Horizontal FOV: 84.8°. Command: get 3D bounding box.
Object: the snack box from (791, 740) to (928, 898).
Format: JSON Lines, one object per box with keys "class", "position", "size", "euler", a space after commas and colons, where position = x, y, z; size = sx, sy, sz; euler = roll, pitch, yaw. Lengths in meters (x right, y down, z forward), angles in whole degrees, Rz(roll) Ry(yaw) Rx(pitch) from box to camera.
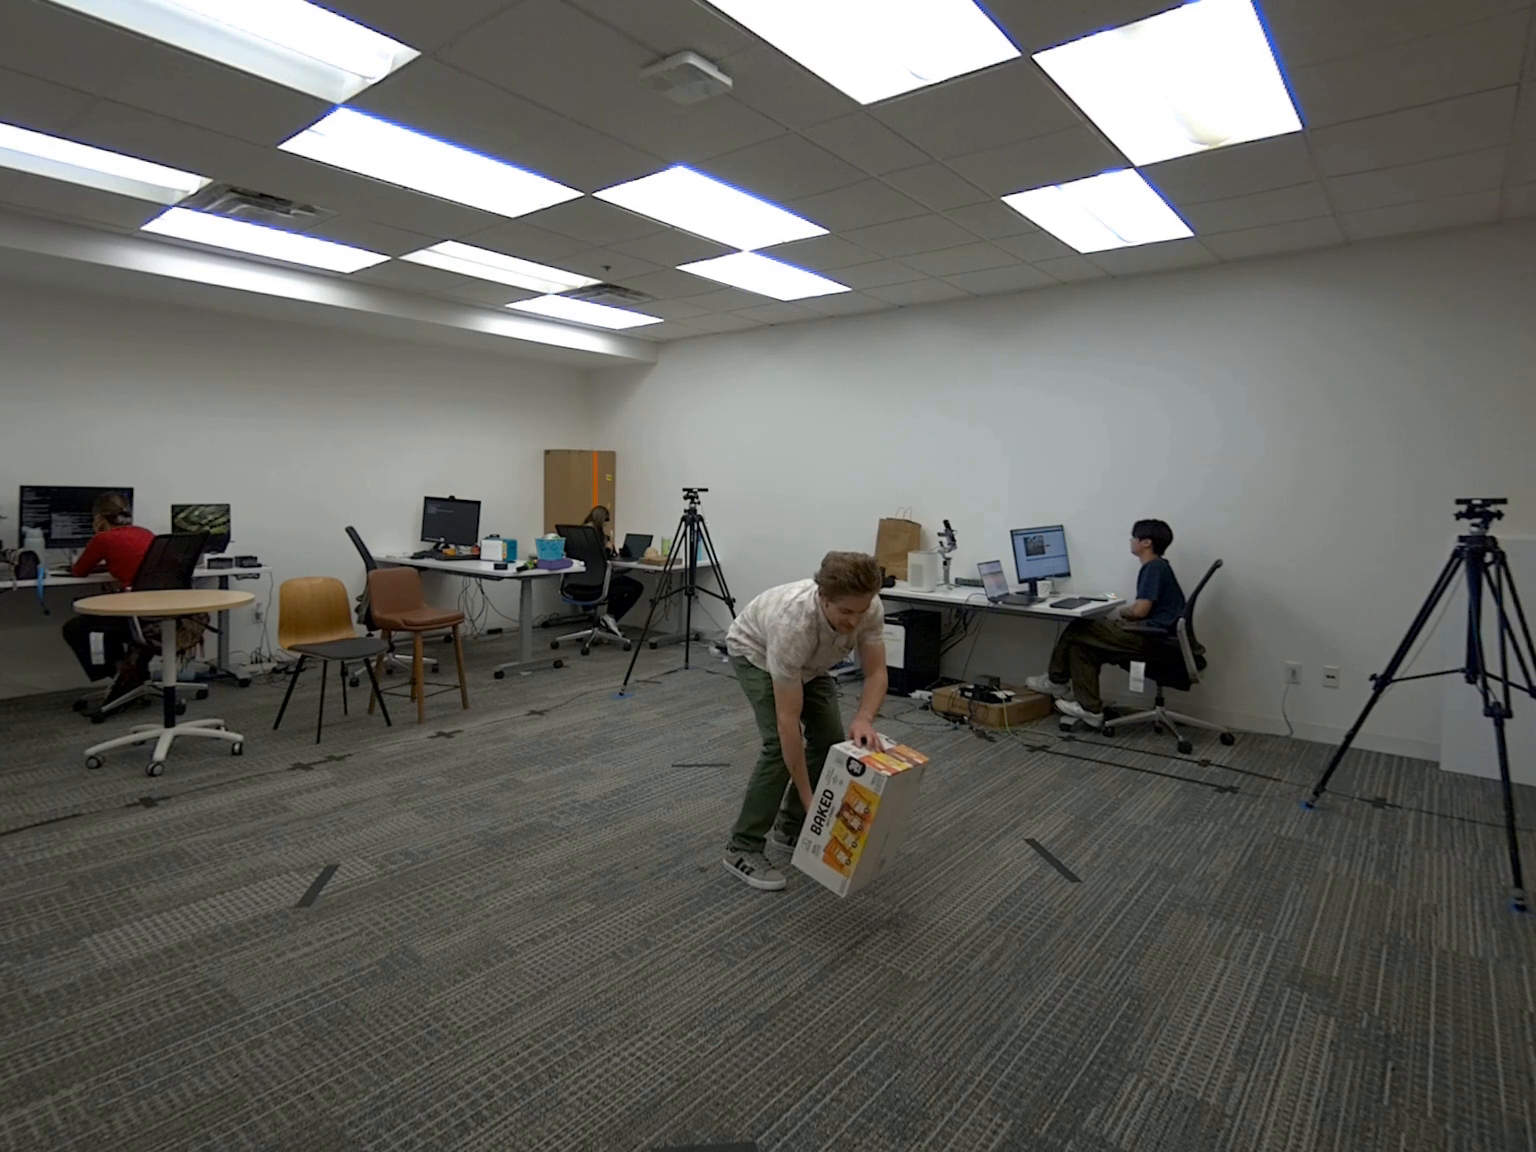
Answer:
{"class": "snack box", "position": [0.300, 0.747, 2.718], "size": [0.213, 0.403, 0.330], "euler": [22, 9, 31]}
